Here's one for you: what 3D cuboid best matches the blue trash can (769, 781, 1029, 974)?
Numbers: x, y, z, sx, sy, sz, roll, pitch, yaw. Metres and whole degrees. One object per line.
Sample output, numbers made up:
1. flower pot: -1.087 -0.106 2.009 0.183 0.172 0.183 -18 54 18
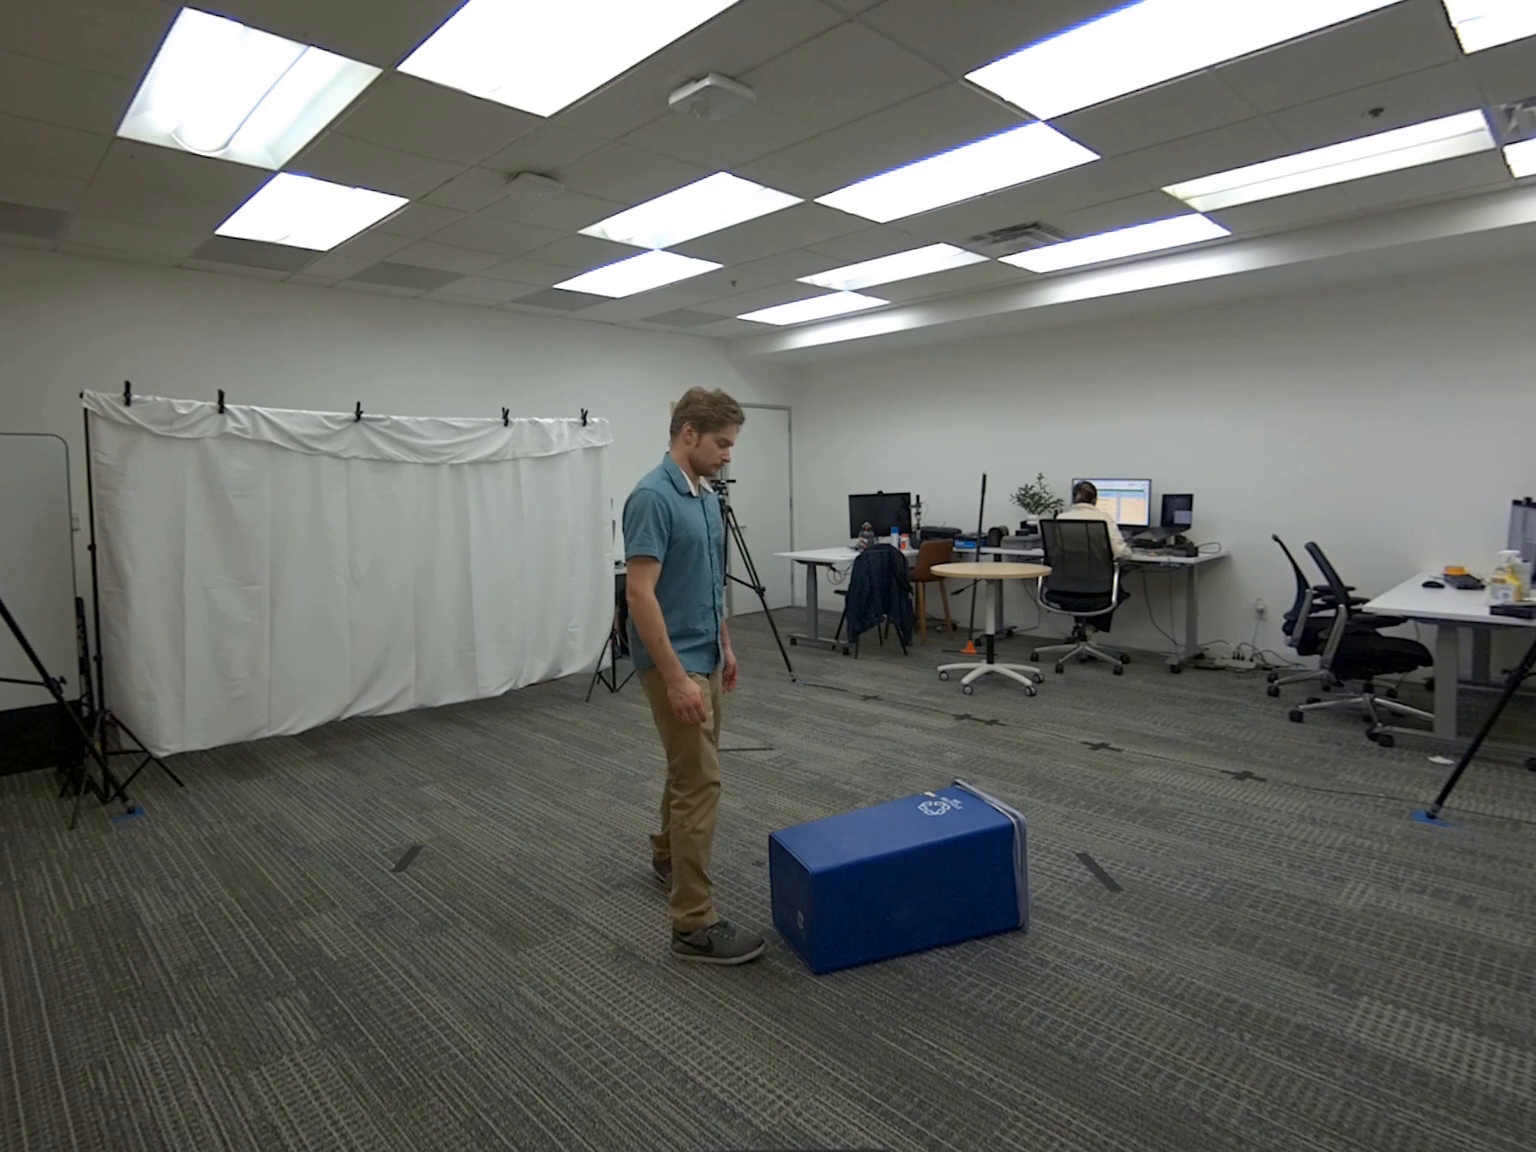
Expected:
1. blue trash can: 0.398 0.925 2.637 0.701 0.376 0.382 -7 6 -21
